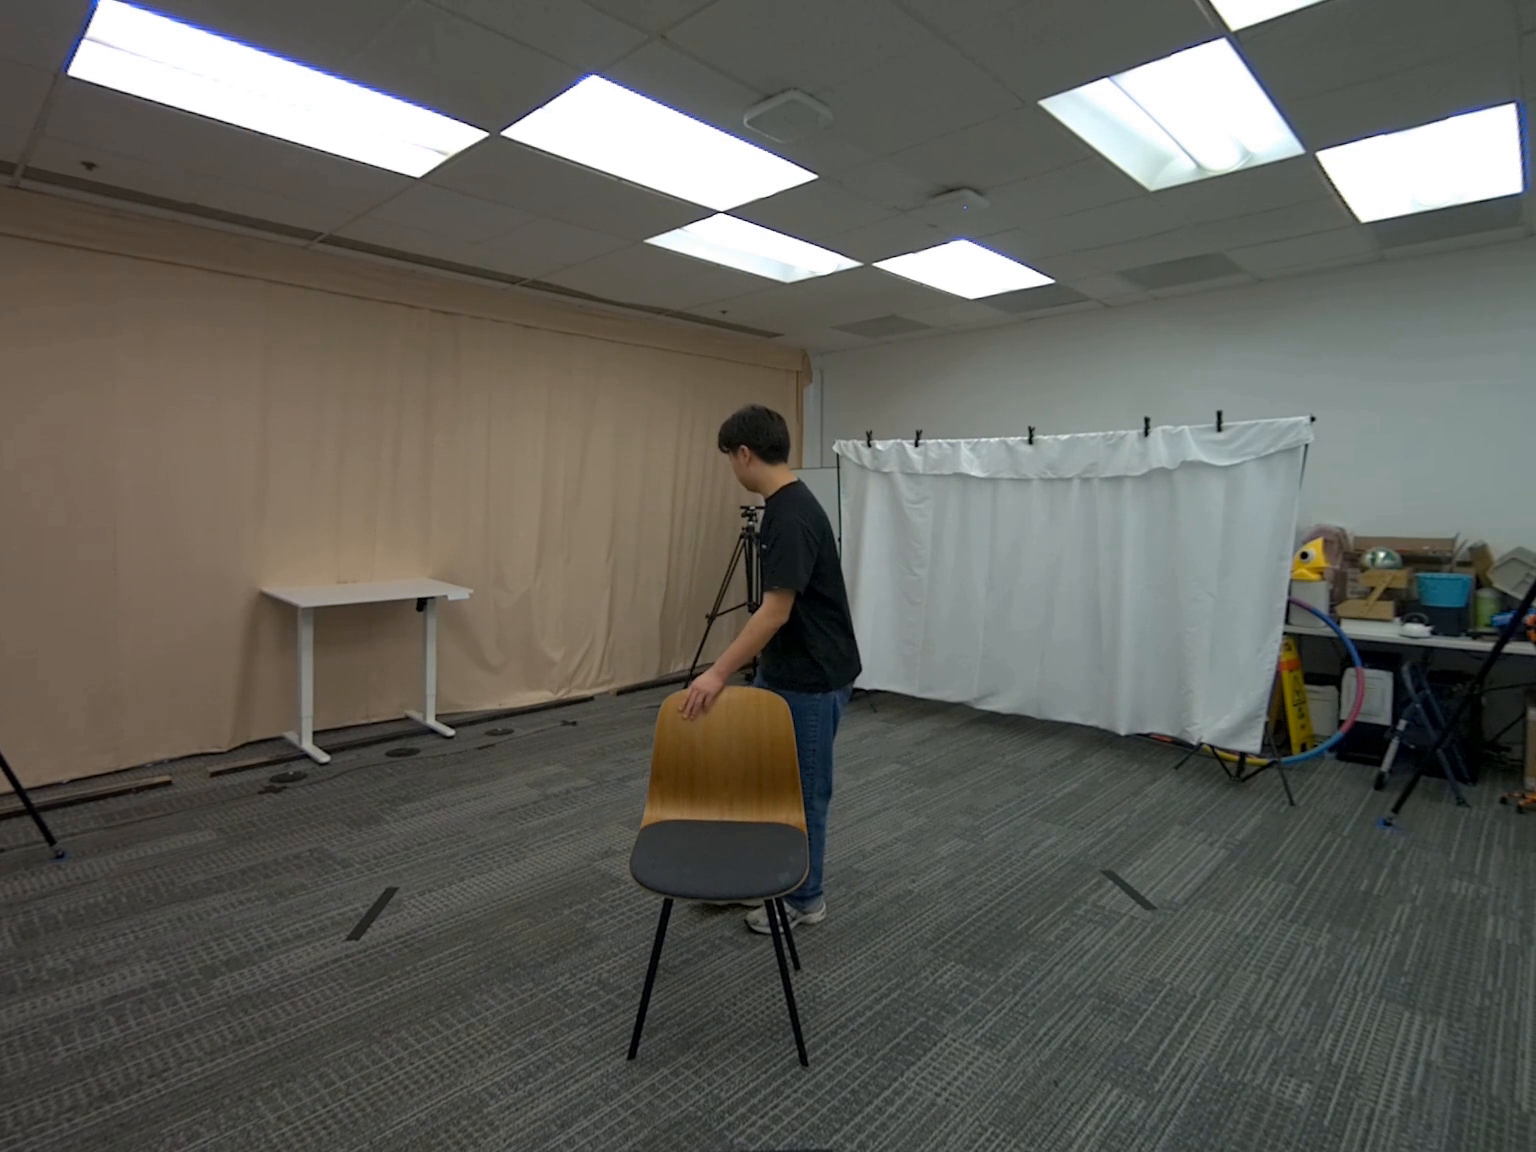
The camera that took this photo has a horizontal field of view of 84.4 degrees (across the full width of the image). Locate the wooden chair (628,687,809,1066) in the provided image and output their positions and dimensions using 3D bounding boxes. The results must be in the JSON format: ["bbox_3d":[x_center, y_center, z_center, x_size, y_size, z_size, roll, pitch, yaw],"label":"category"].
[{"bbox_3d":[-0.115,0.774,2.289,0.479,0.878,0.522,0,-1,0],"label":"wooden chair"}]
